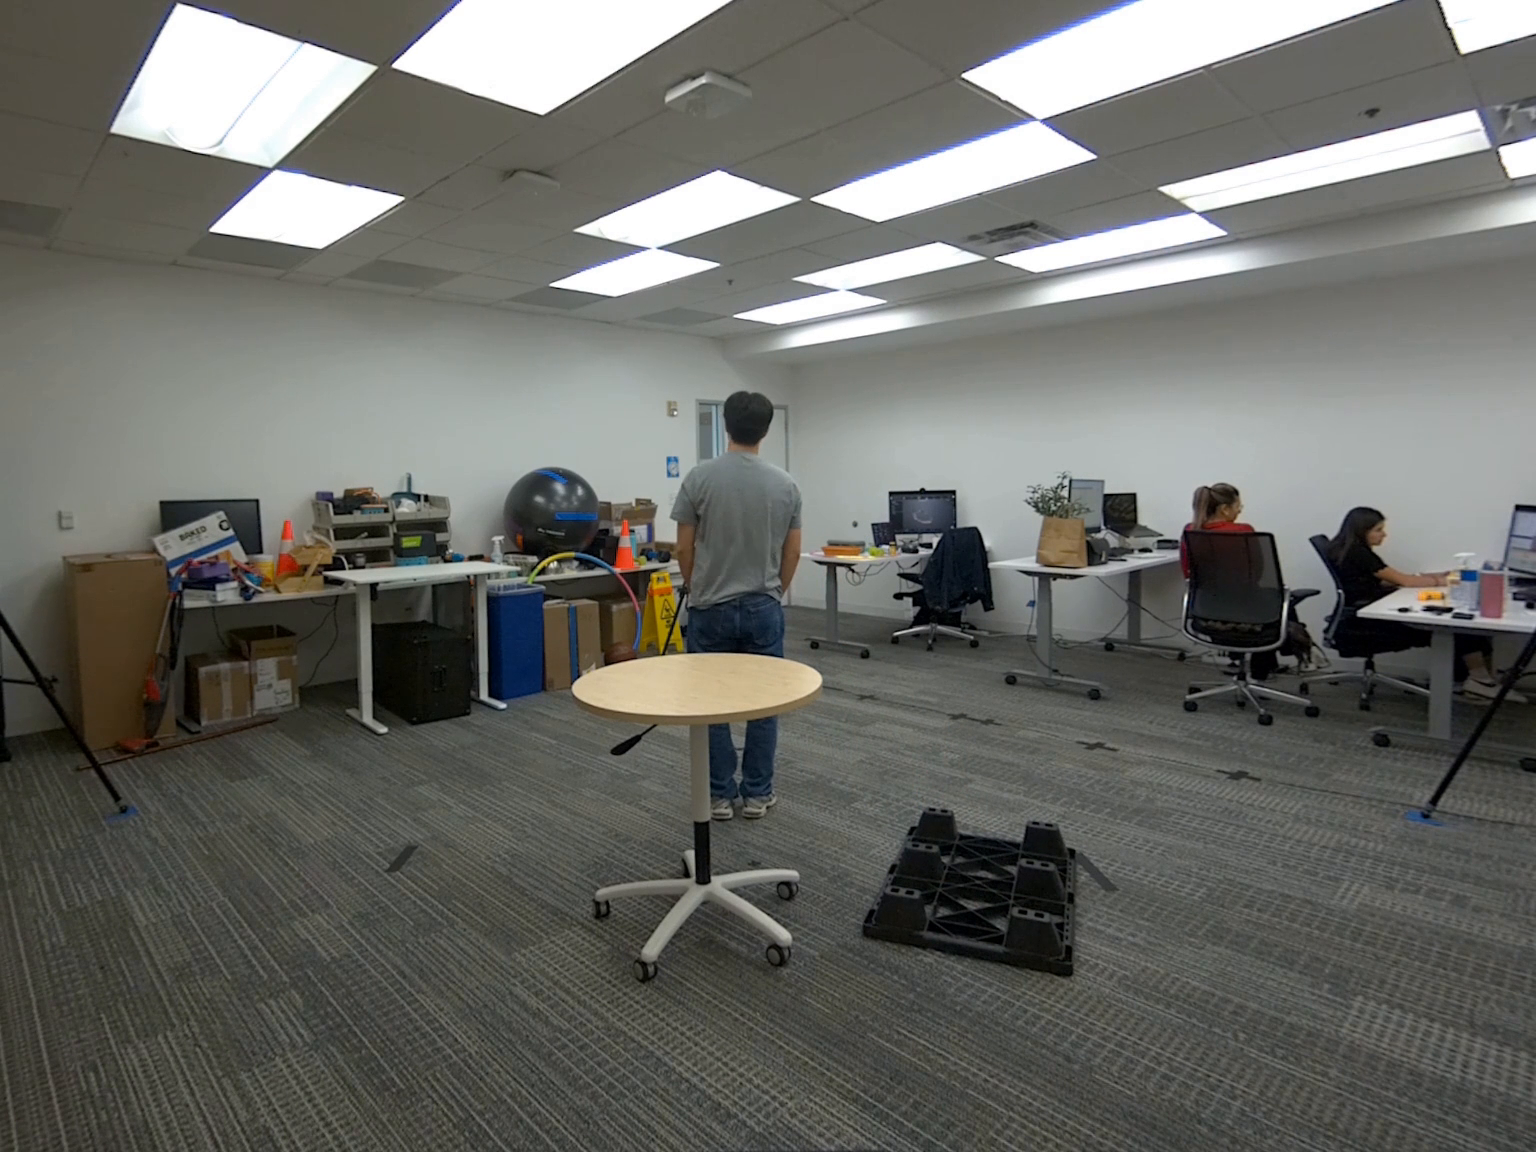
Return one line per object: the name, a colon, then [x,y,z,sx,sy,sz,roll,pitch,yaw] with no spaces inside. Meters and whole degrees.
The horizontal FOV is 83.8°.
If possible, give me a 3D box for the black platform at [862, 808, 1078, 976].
black platform: [0.703,0.996,2.848,0.618,0.142,0.793,2,7,21]
